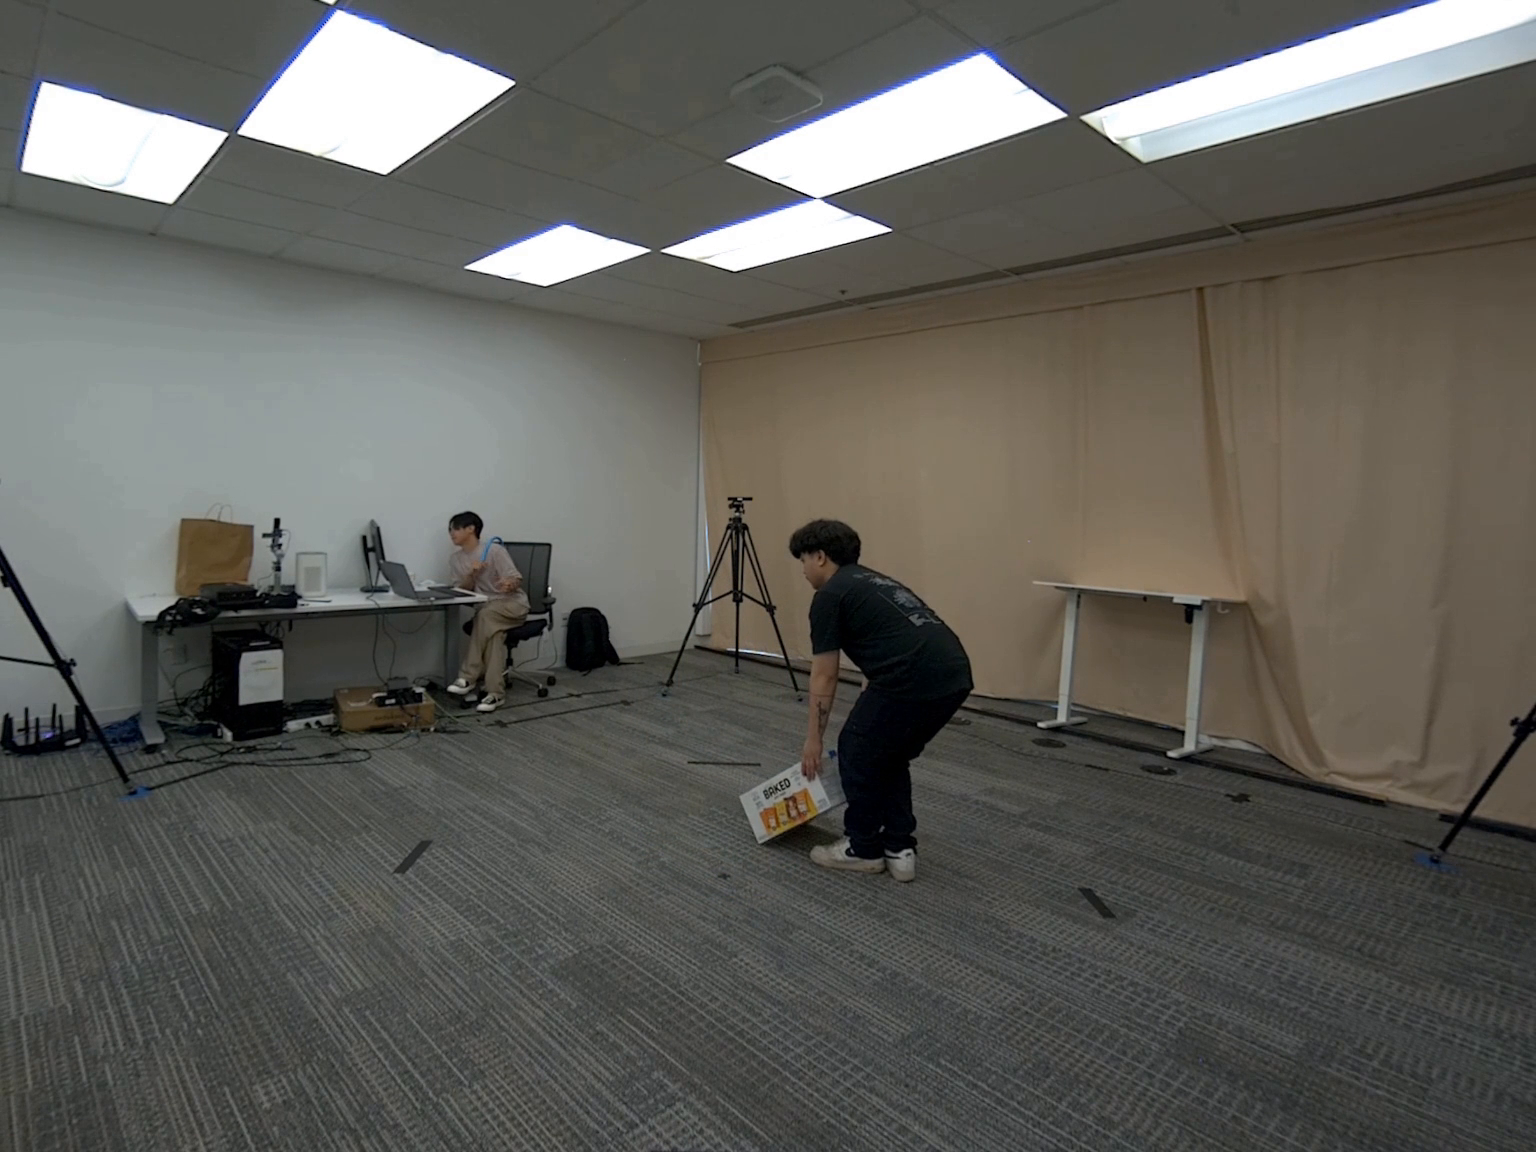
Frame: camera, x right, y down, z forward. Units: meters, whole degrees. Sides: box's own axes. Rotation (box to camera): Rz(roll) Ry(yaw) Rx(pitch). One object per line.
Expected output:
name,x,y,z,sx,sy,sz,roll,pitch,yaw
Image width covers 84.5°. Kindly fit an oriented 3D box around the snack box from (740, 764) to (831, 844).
snack box,0.155,0.886,3.436,0.407,0.209,0.333,-38,-21,33
